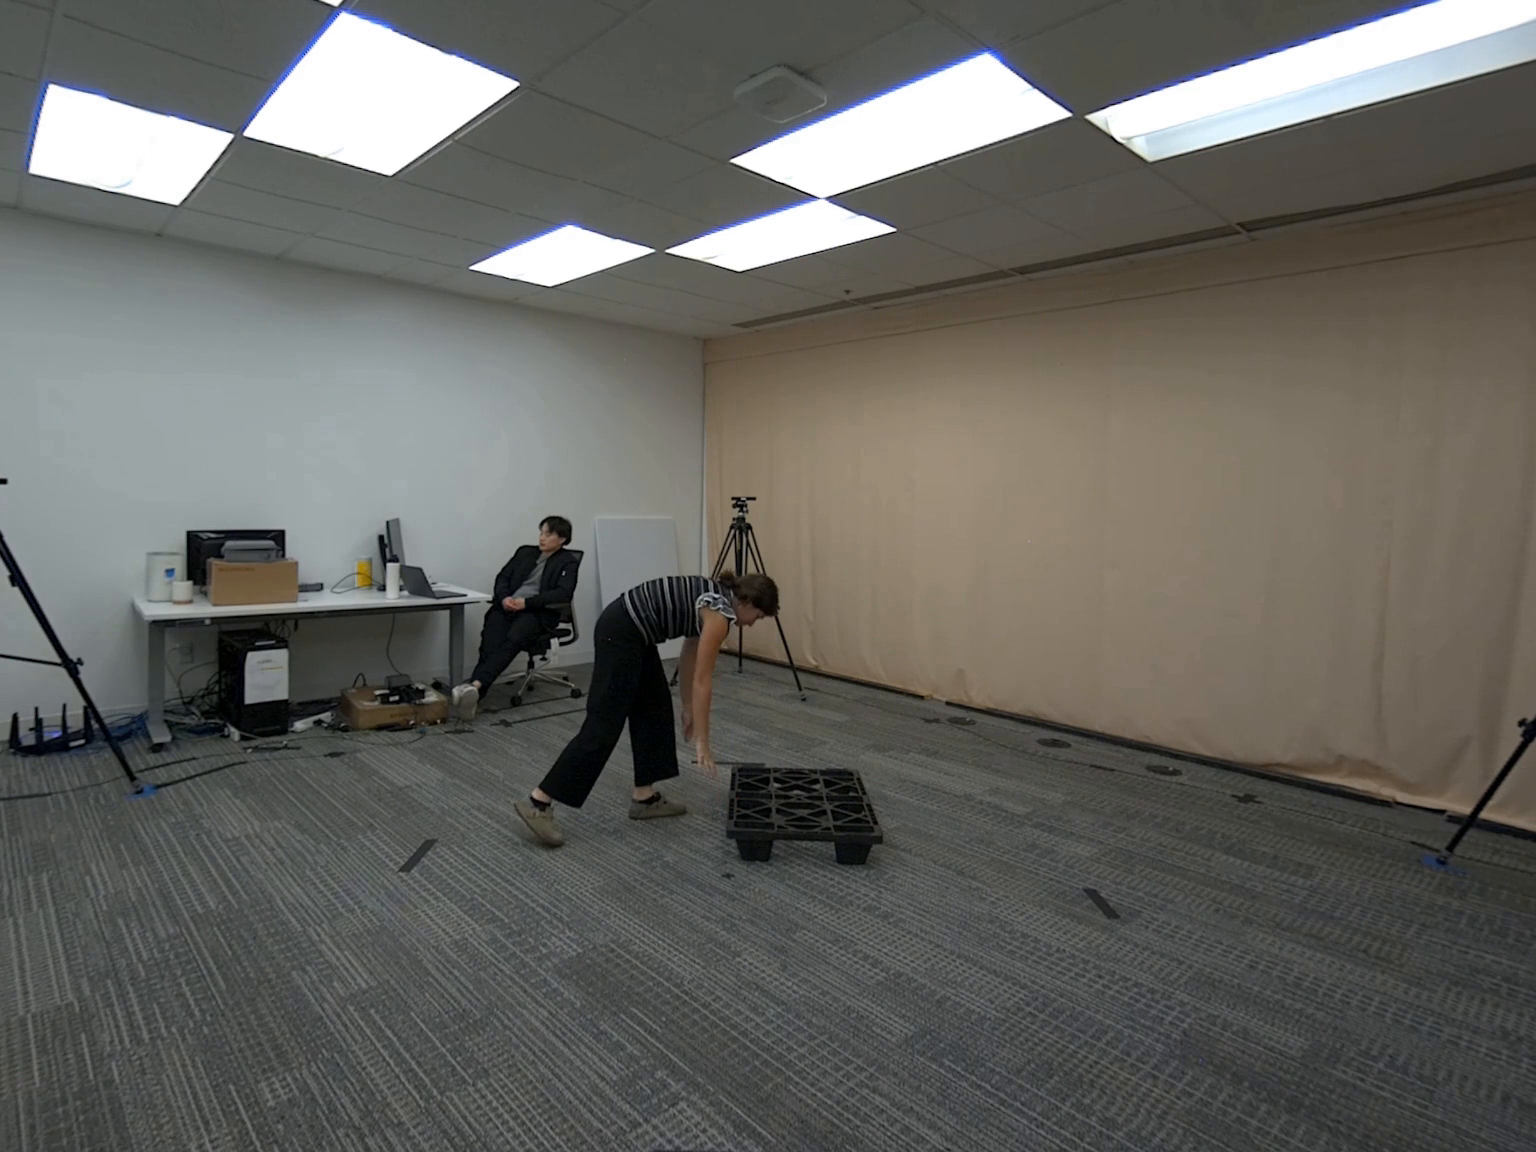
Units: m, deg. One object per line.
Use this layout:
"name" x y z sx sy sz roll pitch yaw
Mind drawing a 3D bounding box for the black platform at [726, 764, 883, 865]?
"black platform" 0.122 1.004 3.589 0.605 0.143 0.807 2 5 0
